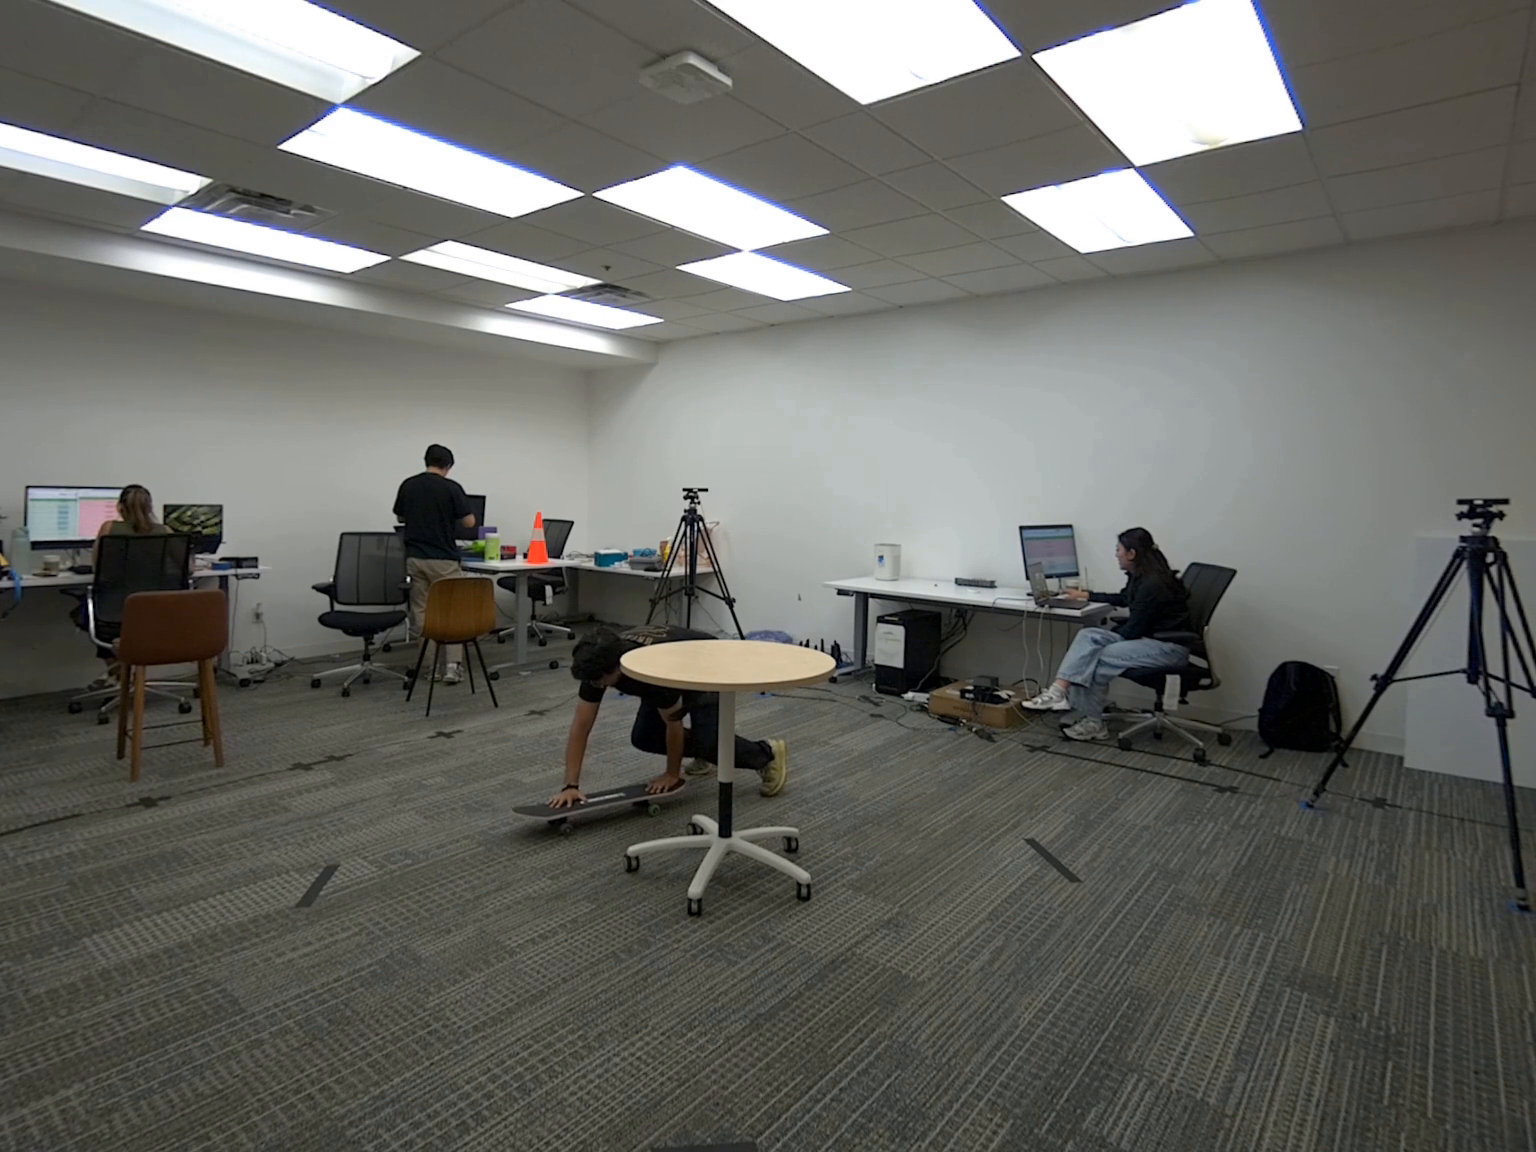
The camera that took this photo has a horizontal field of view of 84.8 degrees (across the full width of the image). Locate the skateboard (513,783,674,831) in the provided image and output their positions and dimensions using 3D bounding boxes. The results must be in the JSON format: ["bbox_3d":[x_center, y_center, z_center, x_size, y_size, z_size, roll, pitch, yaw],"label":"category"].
[{"bbox_3d":[-0.703,0.963,3.568,0.763,0.110,0.199,-3,2,-34],"label":"skateboard"}]
